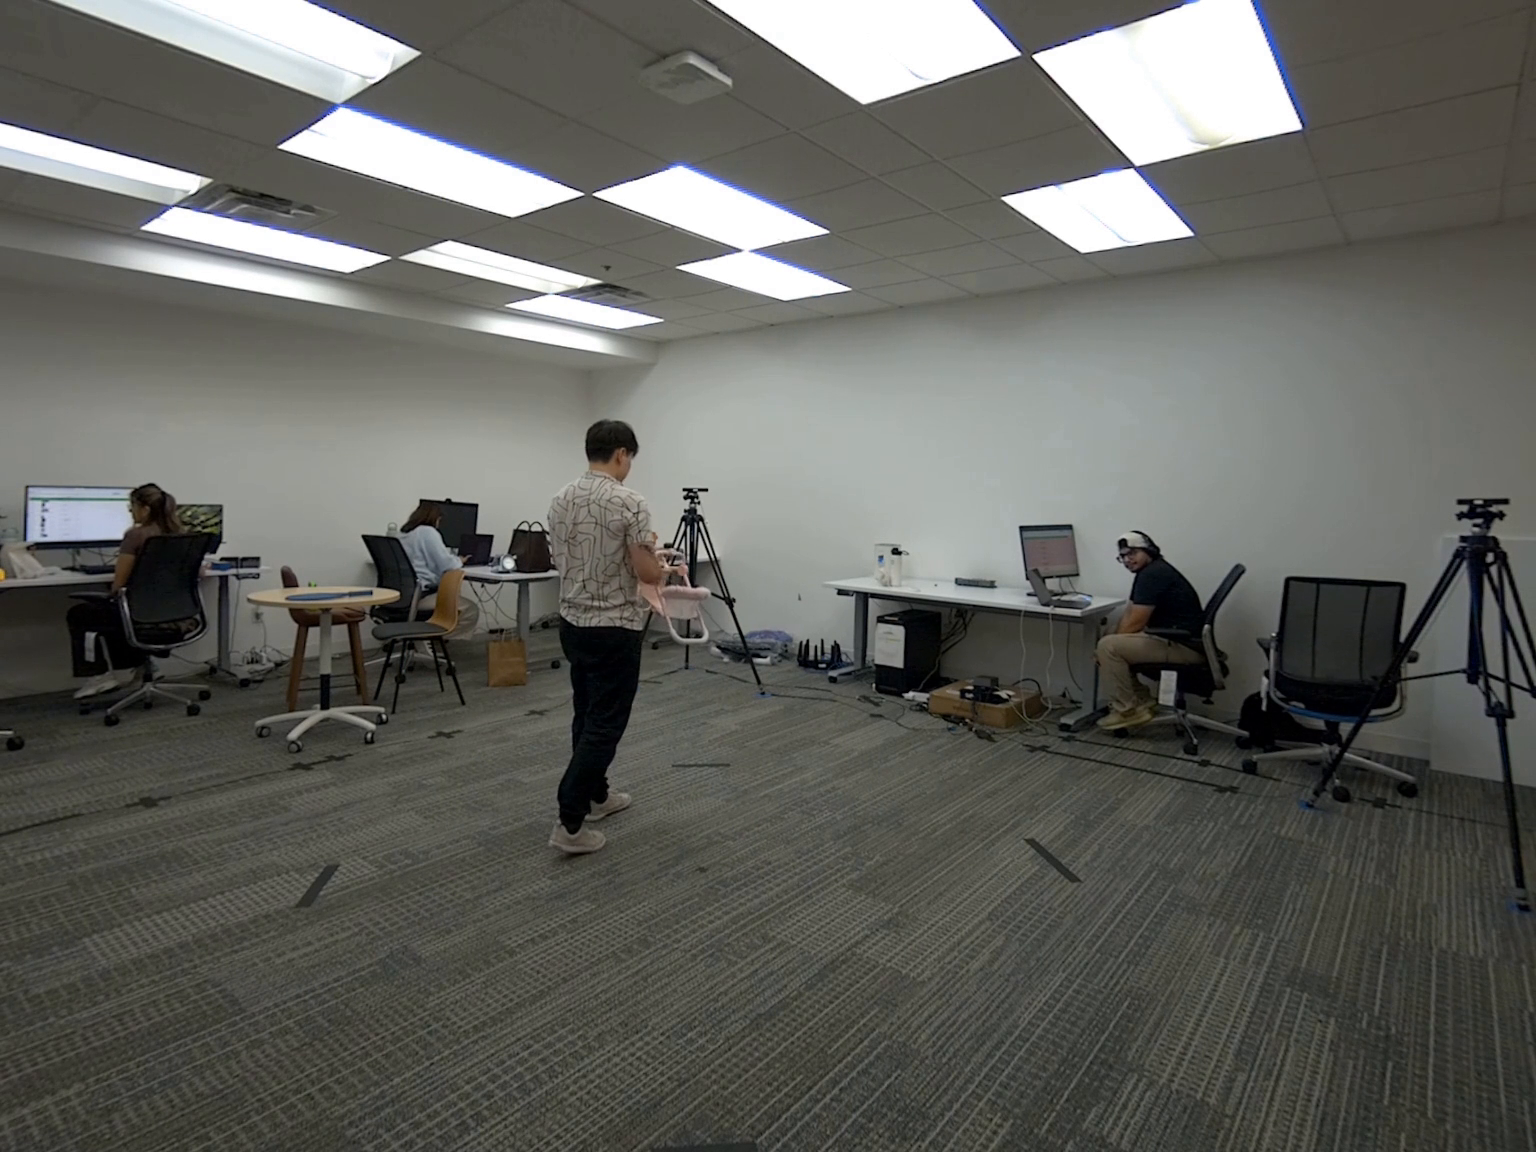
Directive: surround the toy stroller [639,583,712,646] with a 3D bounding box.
[{"bbox_3d":[-0.460,0.049,3.664,0.271,0.340,0.557,12,7,-45],"label":"toy stroller"}]
